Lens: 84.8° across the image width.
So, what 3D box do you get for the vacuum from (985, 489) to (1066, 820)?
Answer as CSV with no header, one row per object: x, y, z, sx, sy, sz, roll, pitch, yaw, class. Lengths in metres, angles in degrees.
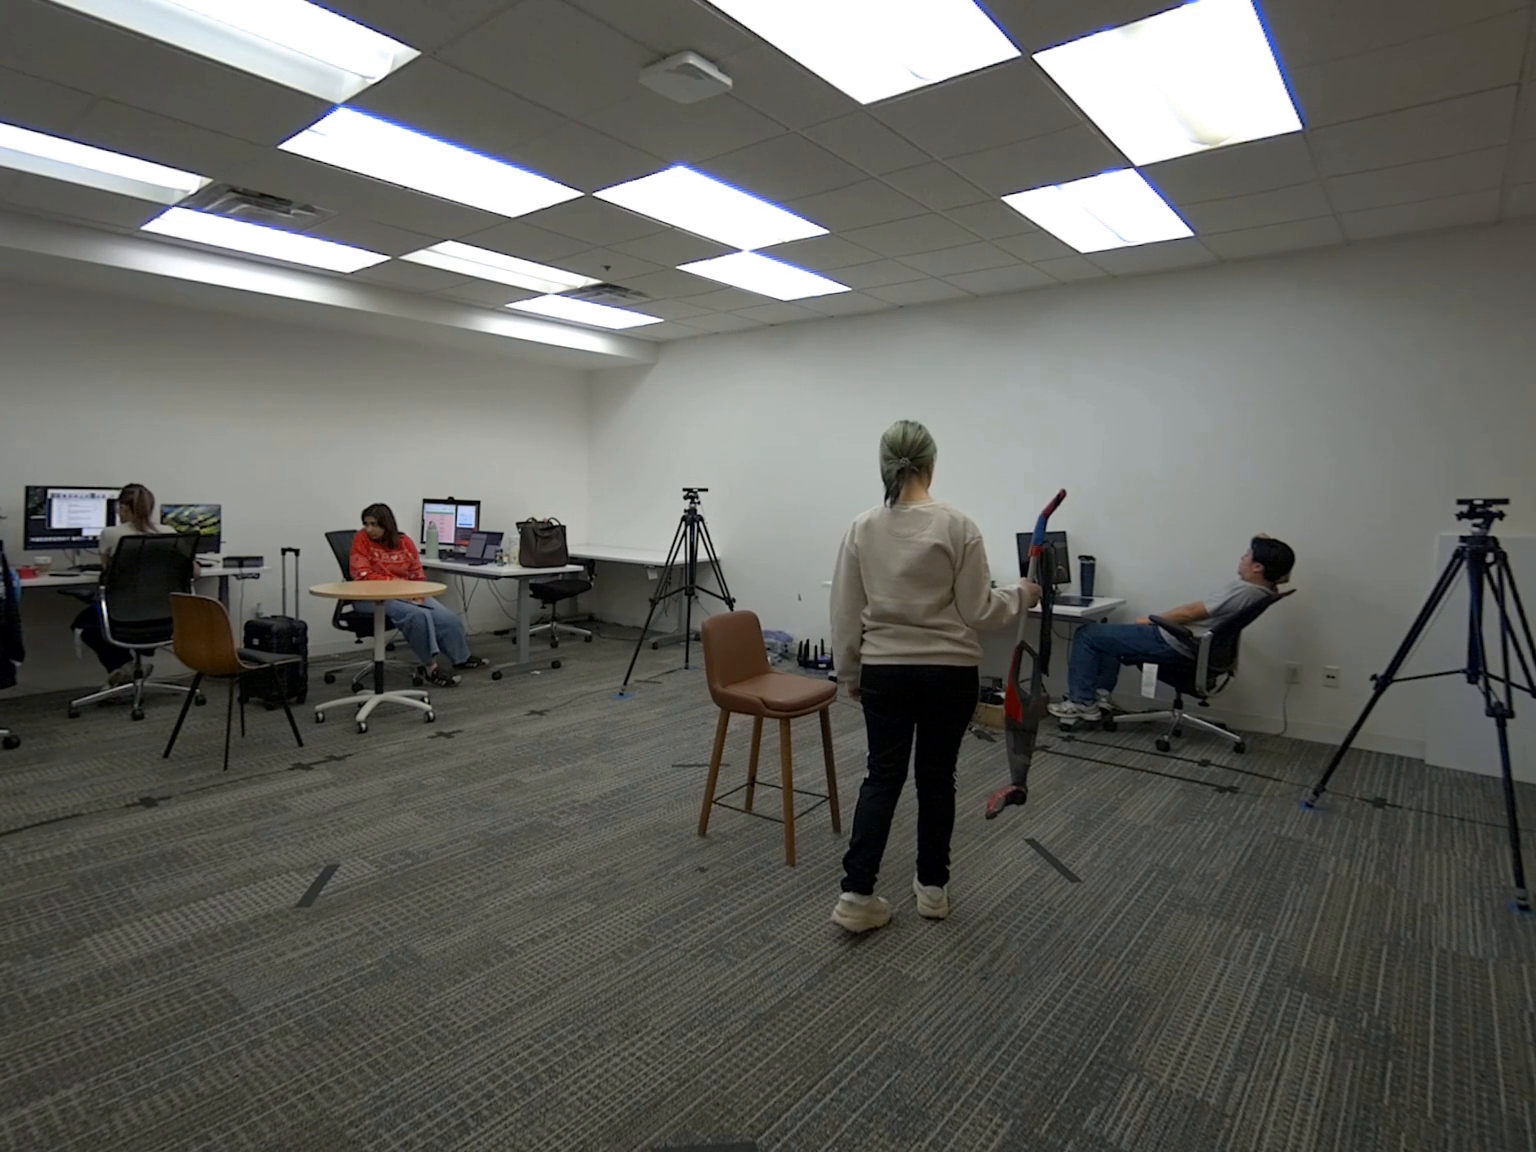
0.890,0.238,2.834,0.148,1.047,0.245,11,2,26,vacuum
